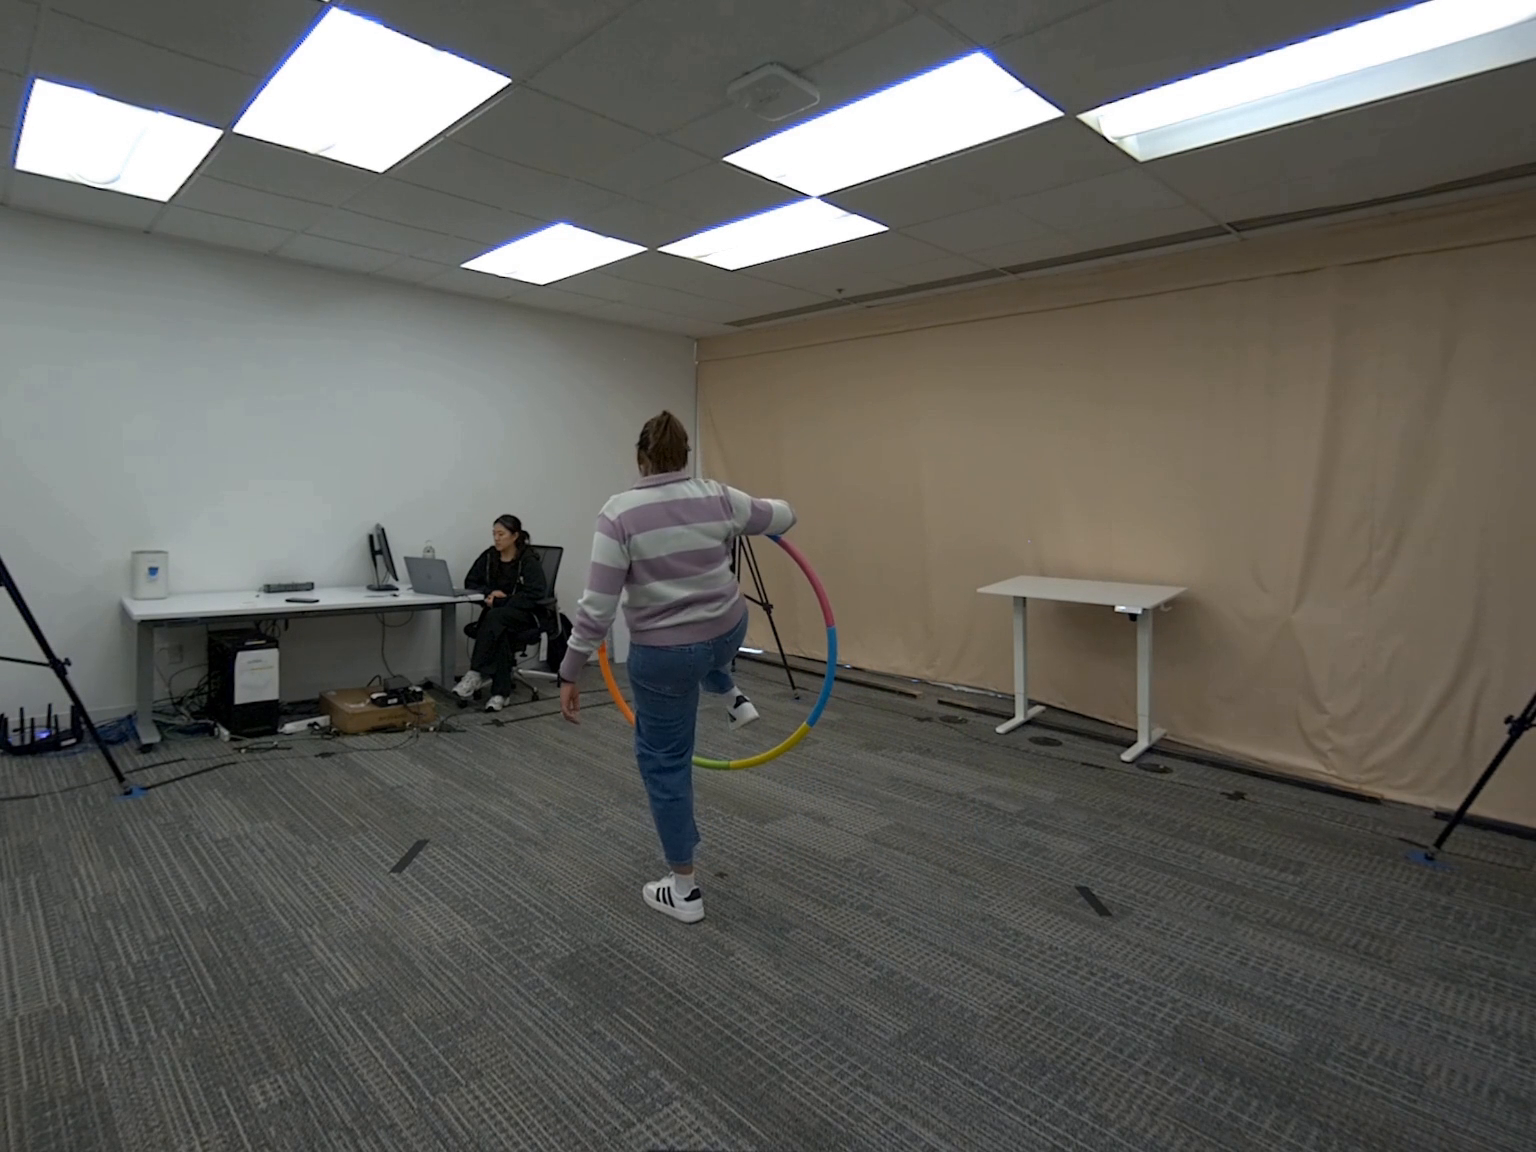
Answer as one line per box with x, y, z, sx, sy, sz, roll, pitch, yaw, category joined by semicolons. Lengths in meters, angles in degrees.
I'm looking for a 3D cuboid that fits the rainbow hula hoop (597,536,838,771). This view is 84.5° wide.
-0.221;0.238;3.163;1.003;0.982;0.051;3;5;22;rainbow hula hoop
